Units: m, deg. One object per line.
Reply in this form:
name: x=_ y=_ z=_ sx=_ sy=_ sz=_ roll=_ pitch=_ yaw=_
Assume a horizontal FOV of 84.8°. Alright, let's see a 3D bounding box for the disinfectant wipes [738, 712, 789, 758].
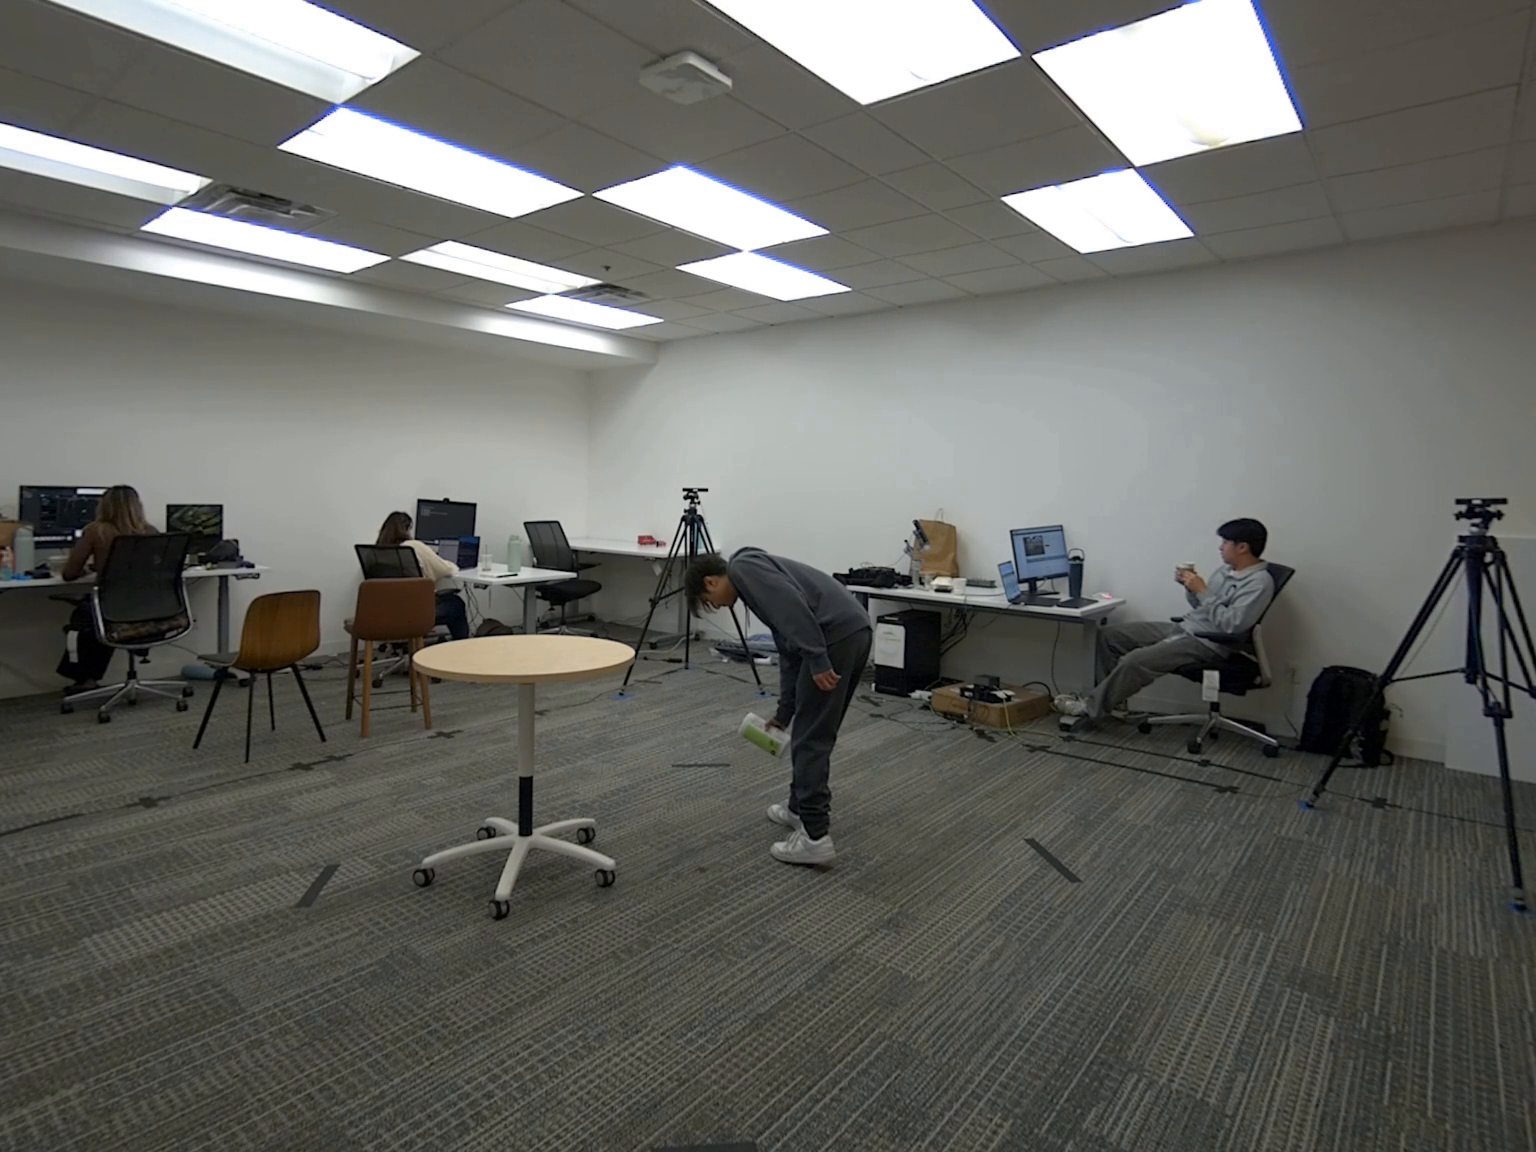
disinfectant wipes: x=-0.023 y=0.681 z=3.676 sx=0.222 sy=0.117 sz=0.116 roll=29 pitch=11 yaw=15
